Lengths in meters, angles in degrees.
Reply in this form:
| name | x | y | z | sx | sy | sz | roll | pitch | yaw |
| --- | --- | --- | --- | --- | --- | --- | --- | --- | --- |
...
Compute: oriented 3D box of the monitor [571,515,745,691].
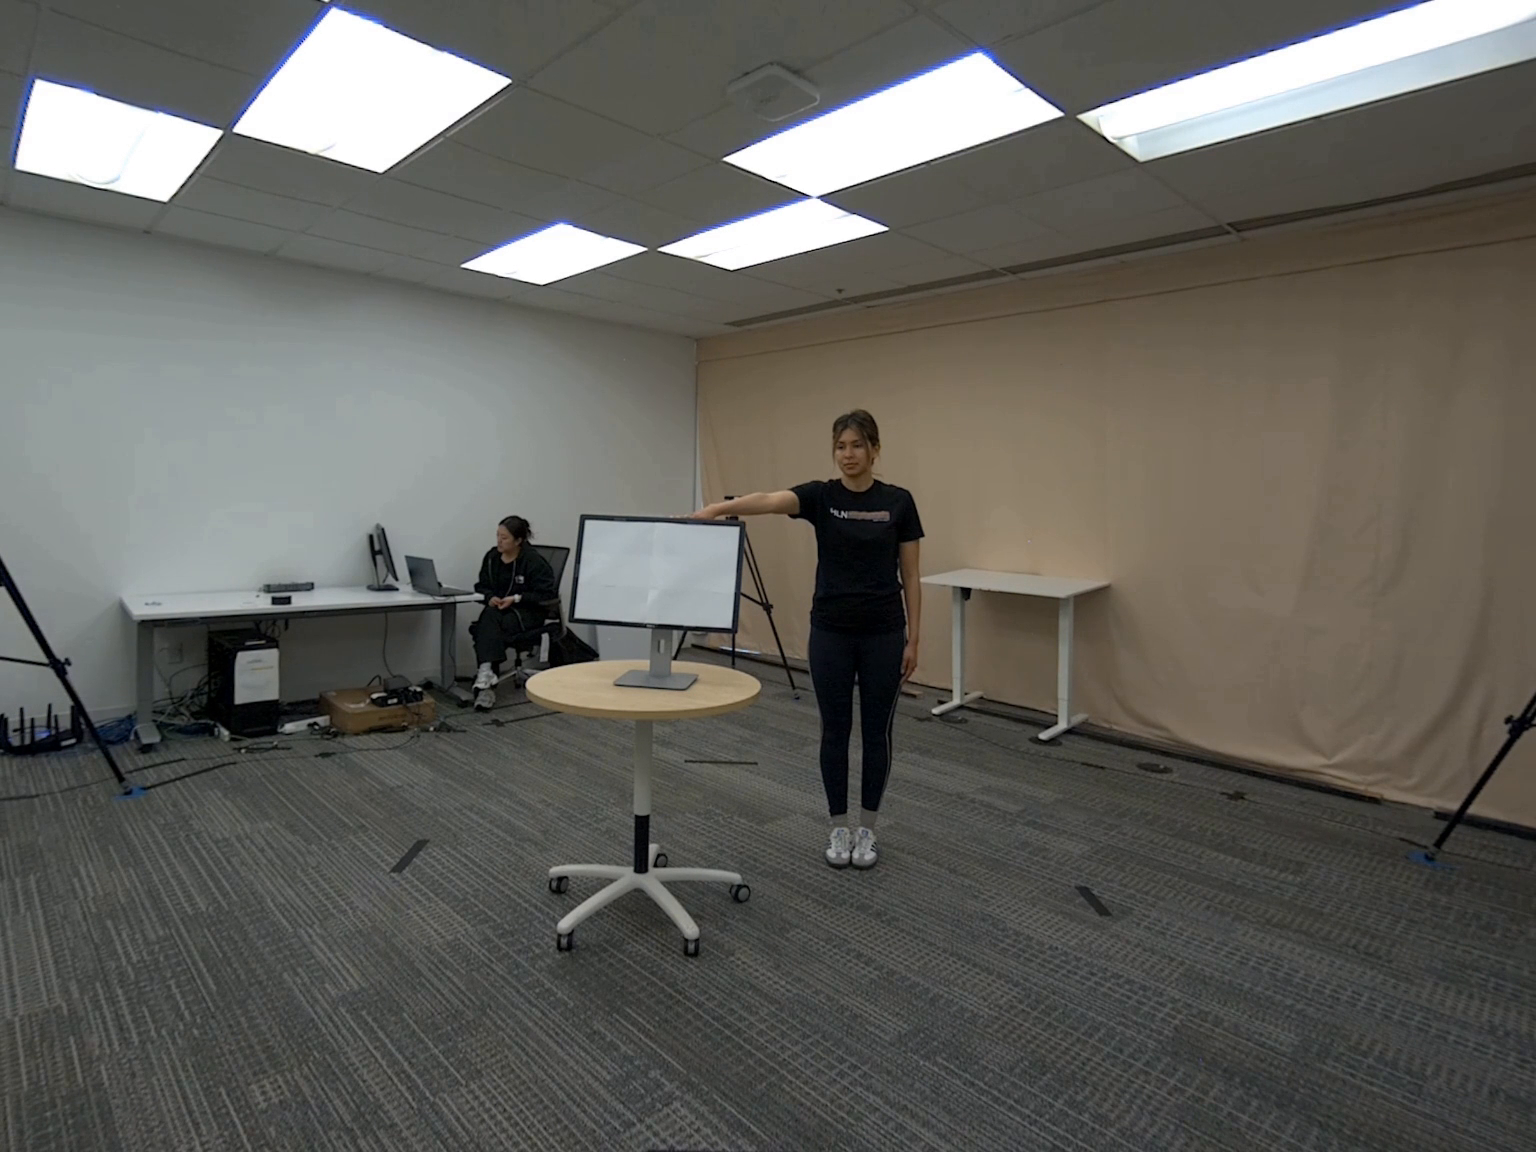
| name | x | y | z | sx | sy | sz | roll | pitch | yaw |
| --- | --- | --- | --- | --- | --- | --- | --- | --- | --- |
| monitor | -0.359 | 0.089 | 2.767 | 0.543 | 0.521 | 0.186 | 3 | 3 | 8 |
